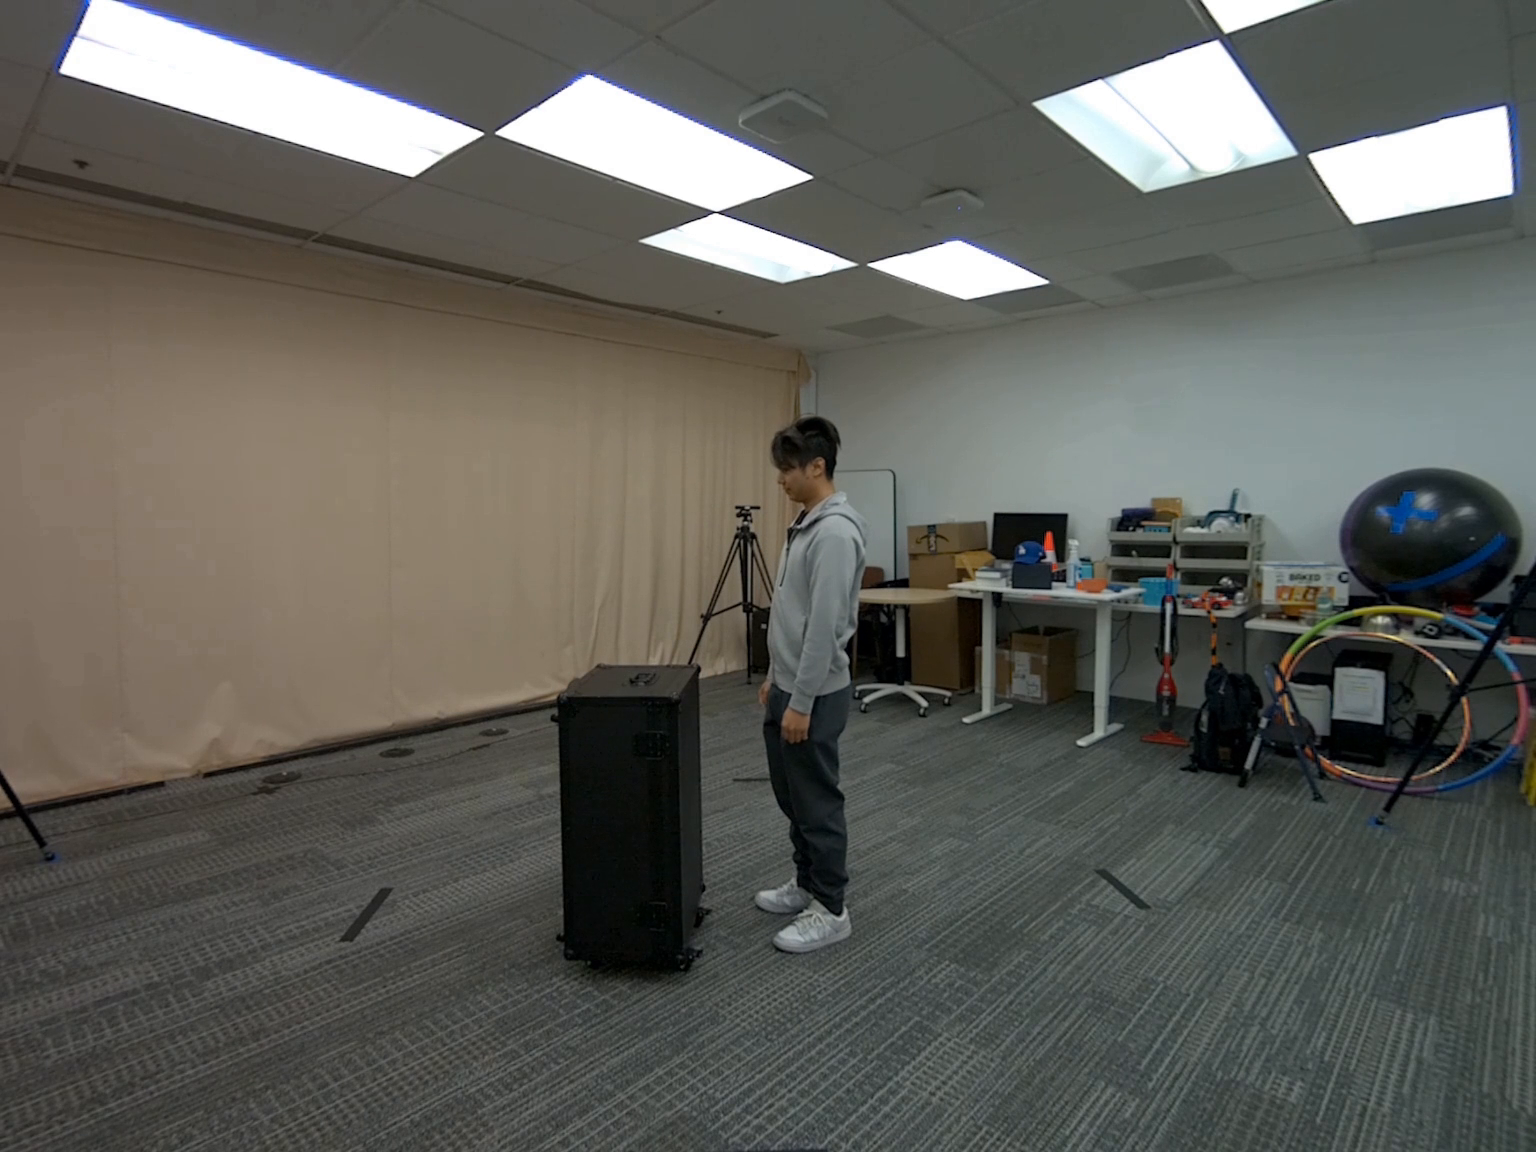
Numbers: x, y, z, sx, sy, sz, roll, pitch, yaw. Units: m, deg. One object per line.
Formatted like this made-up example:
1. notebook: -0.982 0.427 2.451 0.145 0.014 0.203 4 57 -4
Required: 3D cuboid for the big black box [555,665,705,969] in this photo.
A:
1. big black box: -0.425 0.751 2.658 0.399 0.860 0.519 -1 3 5
